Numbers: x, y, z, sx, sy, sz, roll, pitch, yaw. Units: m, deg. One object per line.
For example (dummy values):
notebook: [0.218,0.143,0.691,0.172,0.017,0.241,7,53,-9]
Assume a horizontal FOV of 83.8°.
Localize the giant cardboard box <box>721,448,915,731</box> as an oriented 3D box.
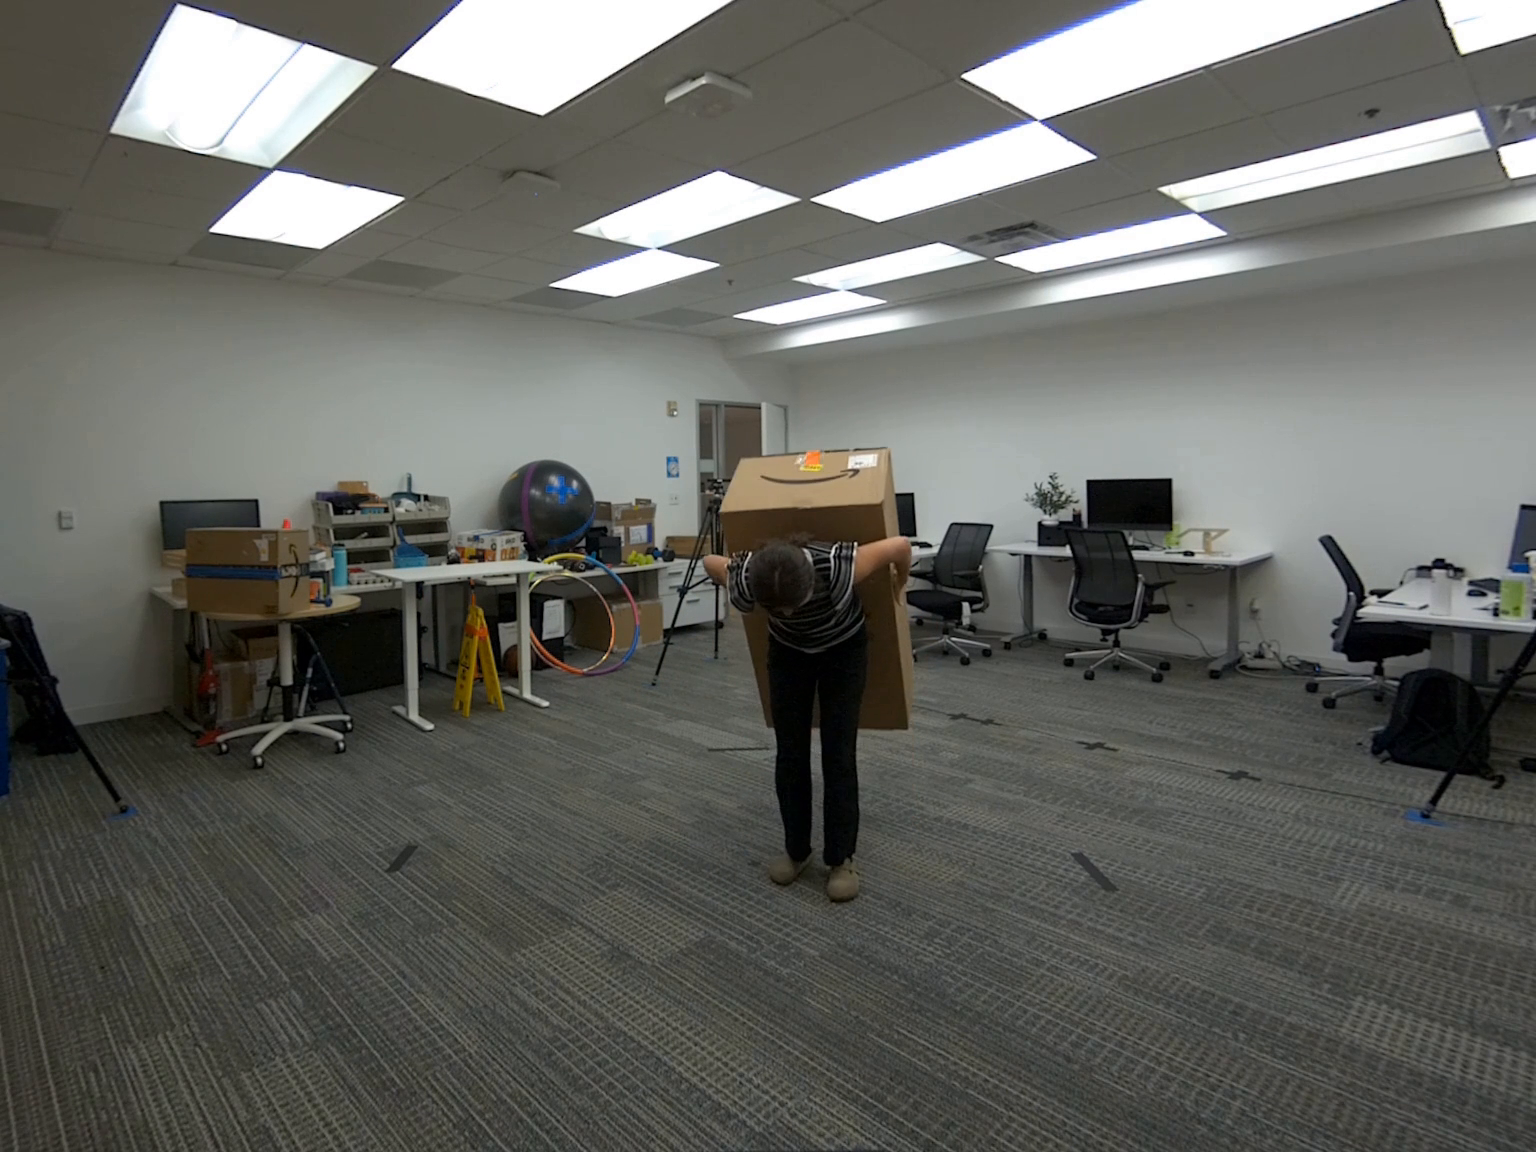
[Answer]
giant cardboard box: [0.224,0.086,3.328,0.586,0.997,0.432,-3,31,15]
